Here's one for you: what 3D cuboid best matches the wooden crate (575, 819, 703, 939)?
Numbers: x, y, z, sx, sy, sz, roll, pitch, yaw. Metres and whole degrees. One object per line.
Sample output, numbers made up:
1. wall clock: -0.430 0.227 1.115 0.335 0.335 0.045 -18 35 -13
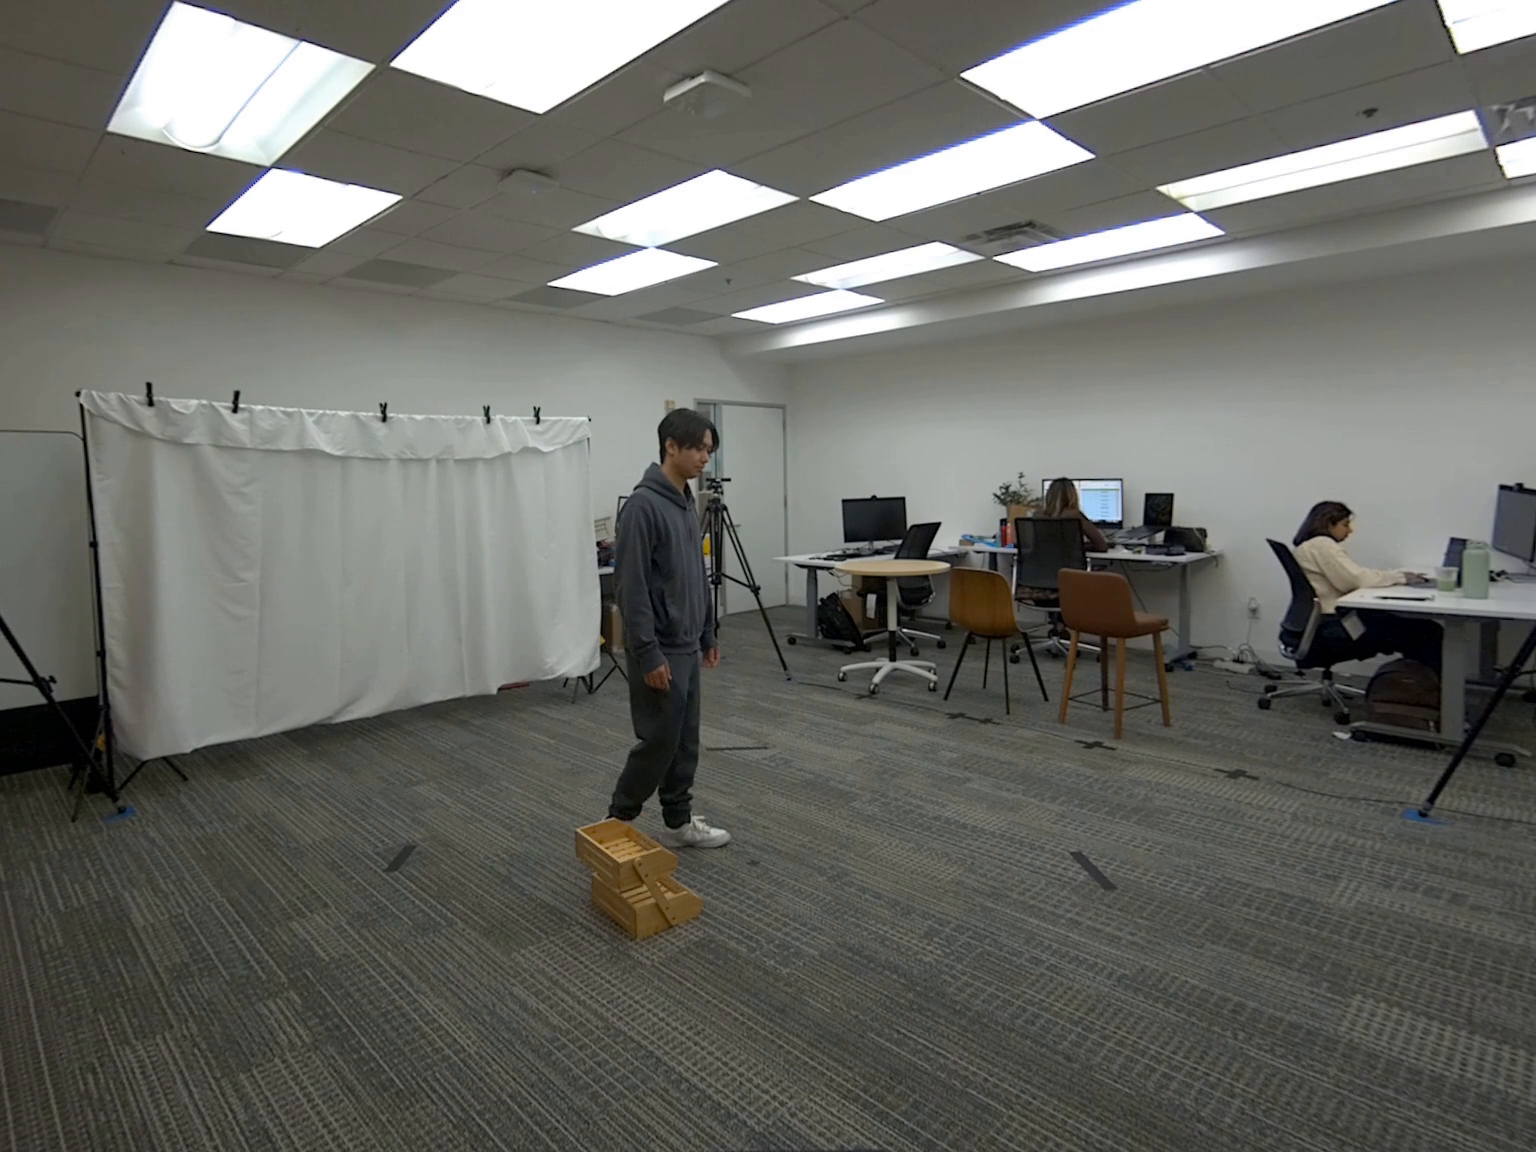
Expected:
1. wooden crate: -0.416 0.955 2.773 0.294 0.272 0.334 -6 8 -37
